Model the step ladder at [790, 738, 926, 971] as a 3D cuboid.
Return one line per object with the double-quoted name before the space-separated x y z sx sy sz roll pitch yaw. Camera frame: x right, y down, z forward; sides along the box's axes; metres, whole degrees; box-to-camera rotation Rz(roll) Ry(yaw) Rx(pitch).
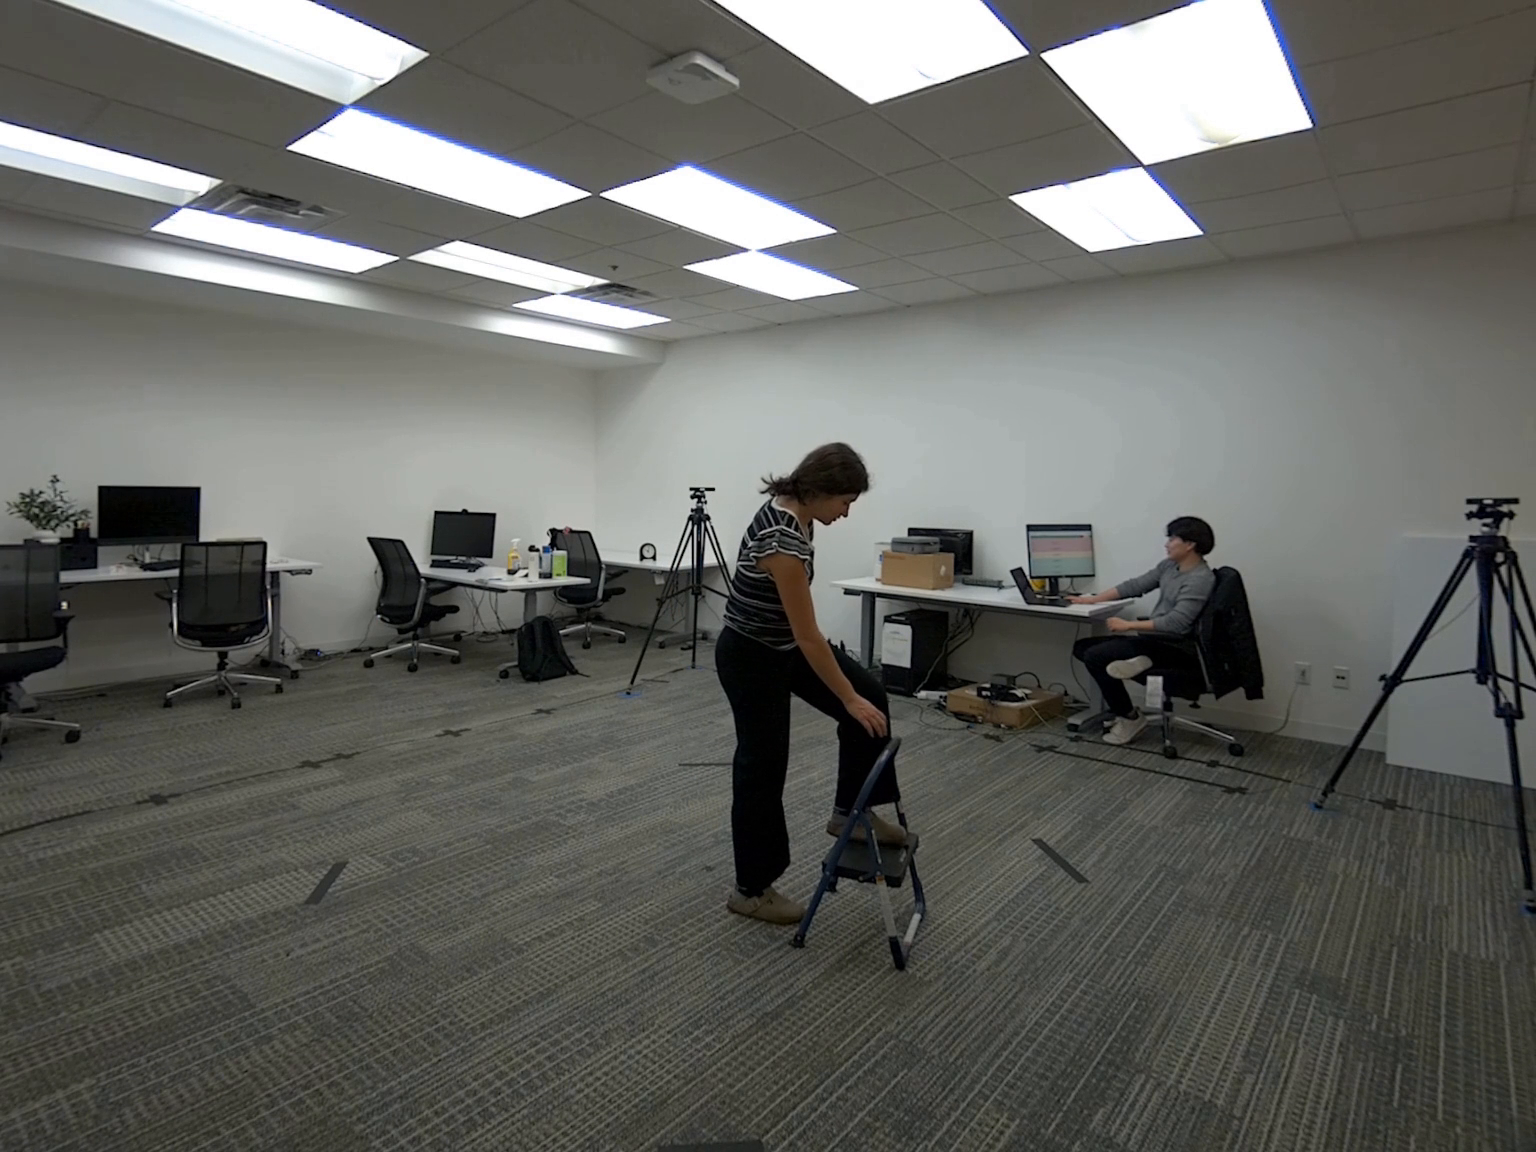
"step ladder" 0.302 0.813 2.705 0.357 0.604 0.423 3 4 20
